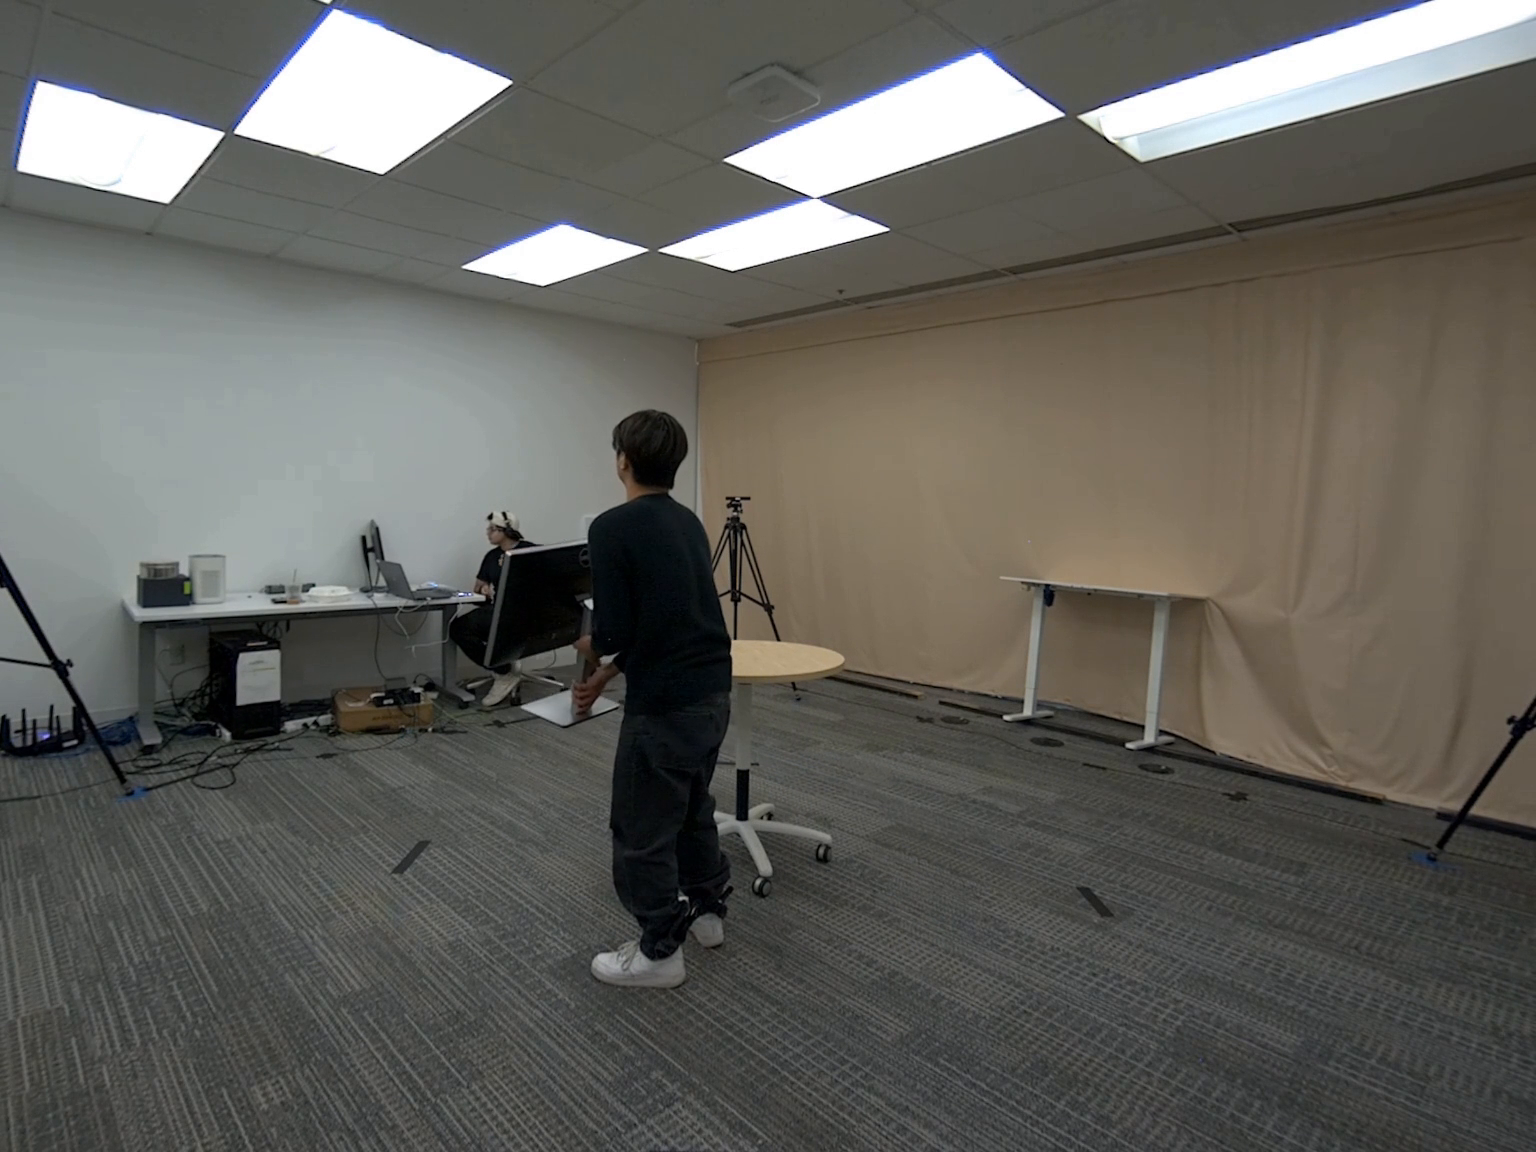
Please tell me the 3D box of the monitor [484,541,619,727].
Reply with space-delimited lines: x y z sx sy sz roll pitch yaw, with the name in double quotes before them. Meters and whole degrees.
"monitor" -0.582 0.156 2.594 0.192 0.518 0.530 14 16 33
